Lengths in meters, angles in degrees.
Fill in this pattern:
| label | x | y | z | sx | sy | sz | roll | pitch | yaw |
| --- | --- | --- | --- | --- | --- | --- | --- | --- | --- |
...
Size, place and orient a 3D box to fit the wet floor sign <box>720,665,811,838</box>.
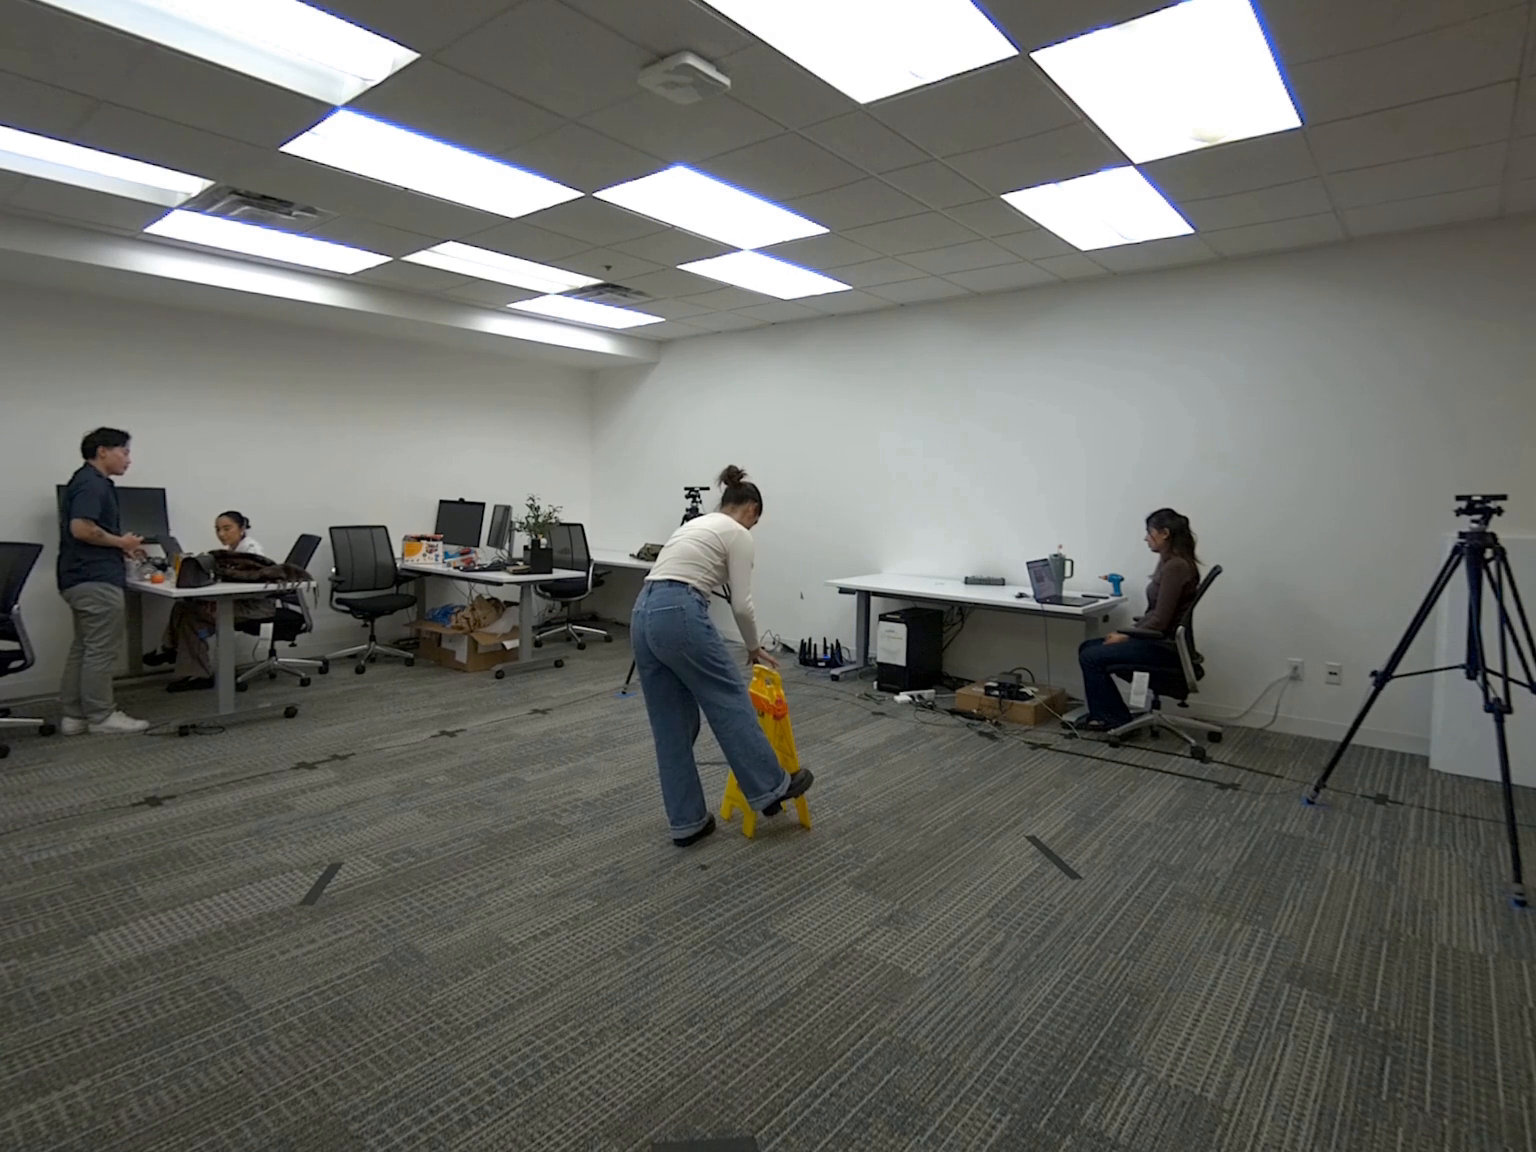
| label | x | y | z | sx | sy | sz | roll | pitch | yaw |
| --- | --- | --- | --- | --- | --- | --- | --- | --- | --- |
| wet floor sign | -0.021 | 0.703 | 3.547 | 0.282 | 0.645 | 0.290 | 0 | 2 | -27 |
